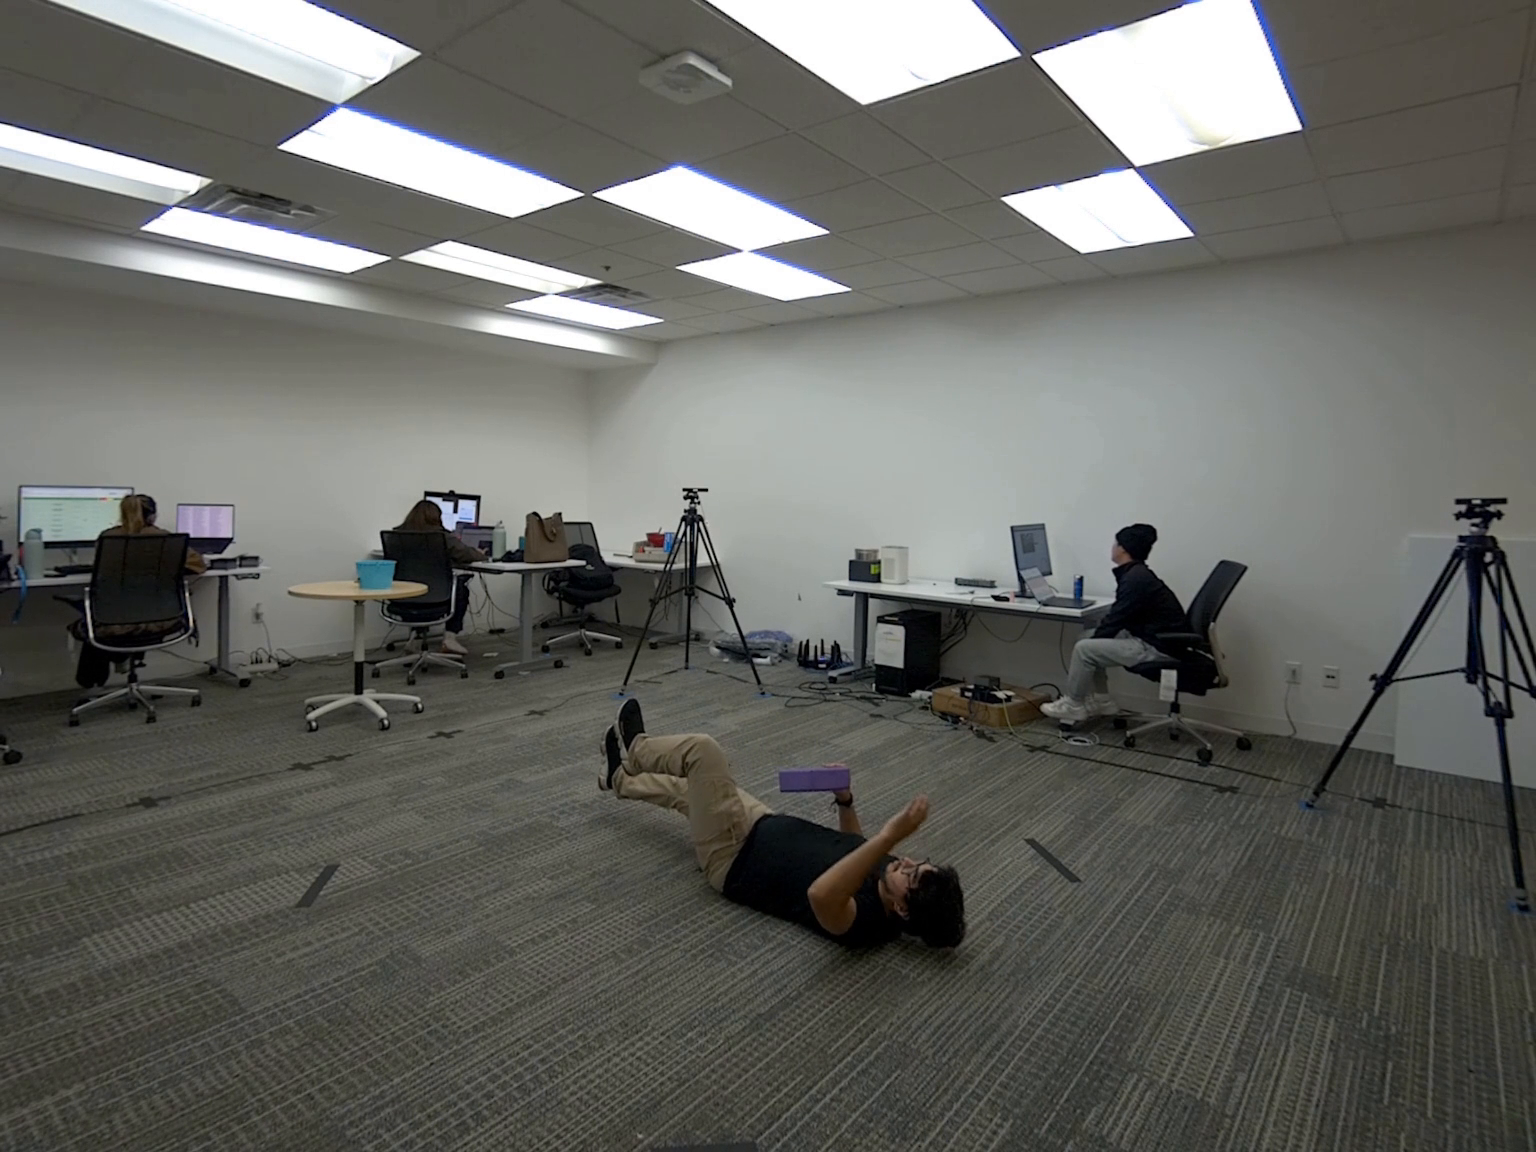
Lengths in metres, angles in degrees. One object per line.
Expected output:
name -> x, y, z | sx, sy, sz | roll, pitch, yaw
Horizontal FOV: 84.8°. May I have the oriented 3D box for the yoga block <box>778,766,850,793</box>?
yoga block -> 0.148, 0.705, 2.967 | 0.221, 0.077, 0.152 | 9, -15, -39
